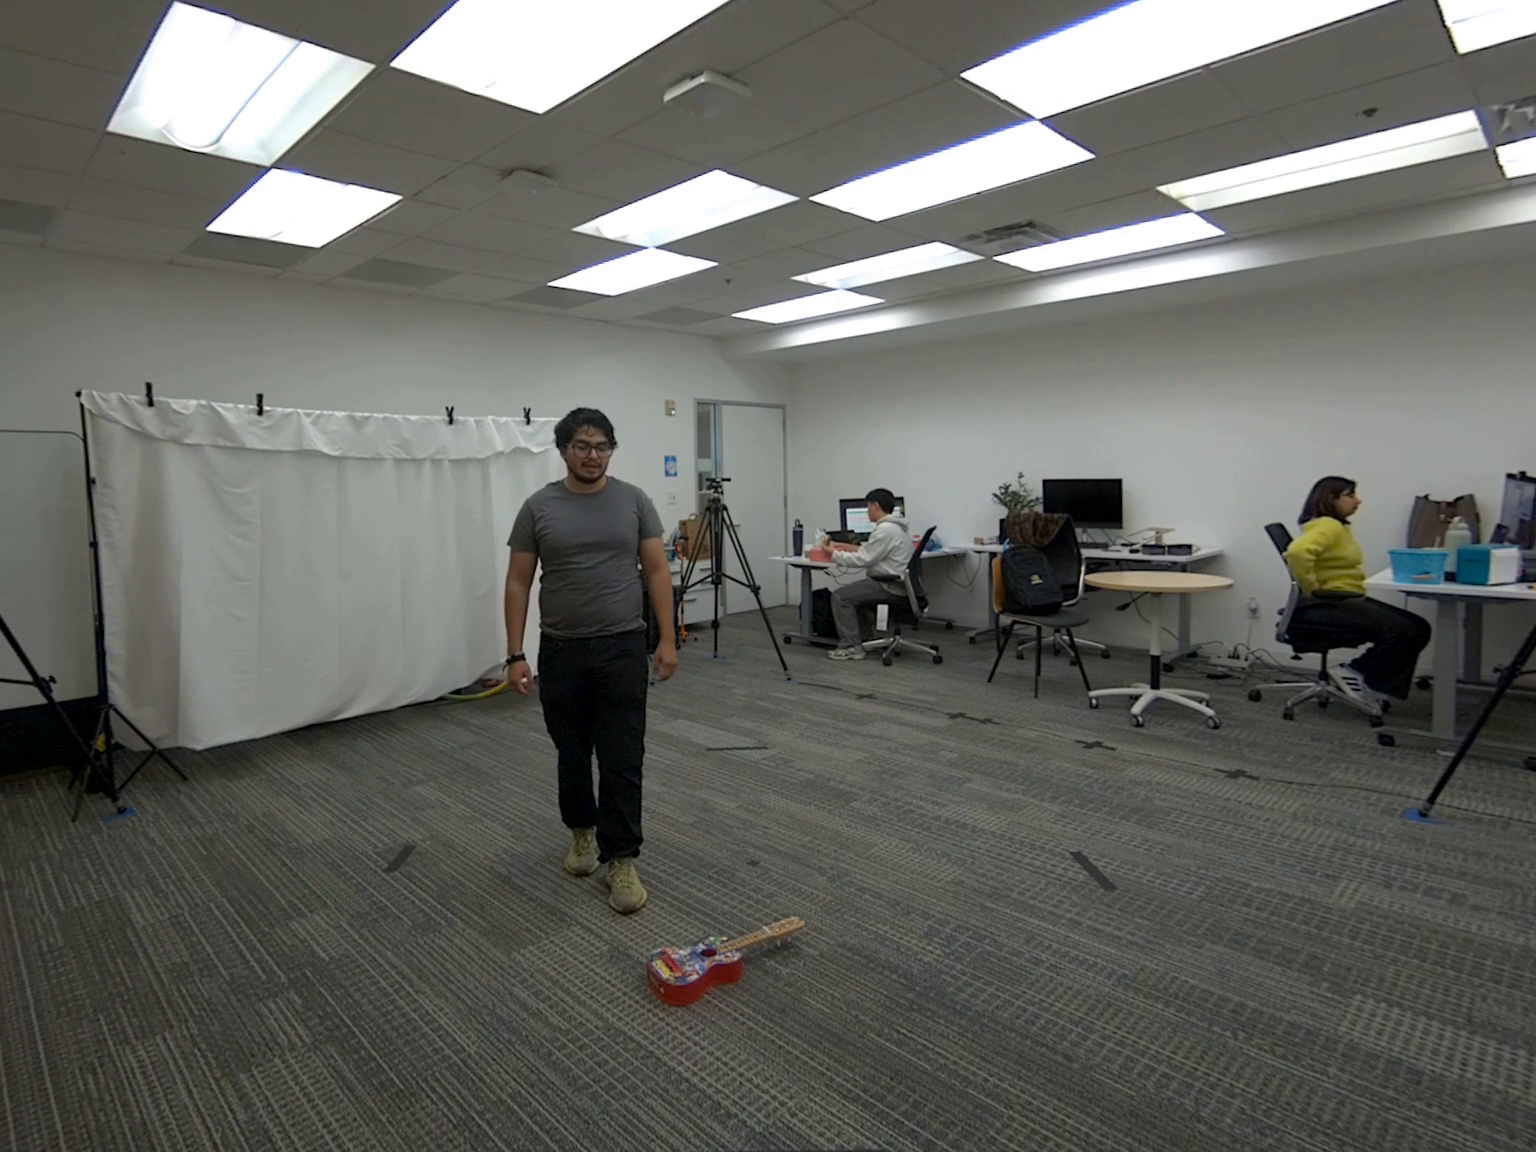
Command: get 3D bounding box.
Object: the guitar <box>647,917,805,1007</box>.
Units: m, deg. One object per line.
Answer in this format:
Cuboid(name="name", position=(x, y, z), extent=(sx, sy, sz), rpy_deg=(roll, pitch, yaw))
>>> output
Cuboid(name="guitar", position=(-0.088, 1.090, 2.429), extent=(0.488, 0.070, 0.197), rpy_deg=(-4, 6, -22))
